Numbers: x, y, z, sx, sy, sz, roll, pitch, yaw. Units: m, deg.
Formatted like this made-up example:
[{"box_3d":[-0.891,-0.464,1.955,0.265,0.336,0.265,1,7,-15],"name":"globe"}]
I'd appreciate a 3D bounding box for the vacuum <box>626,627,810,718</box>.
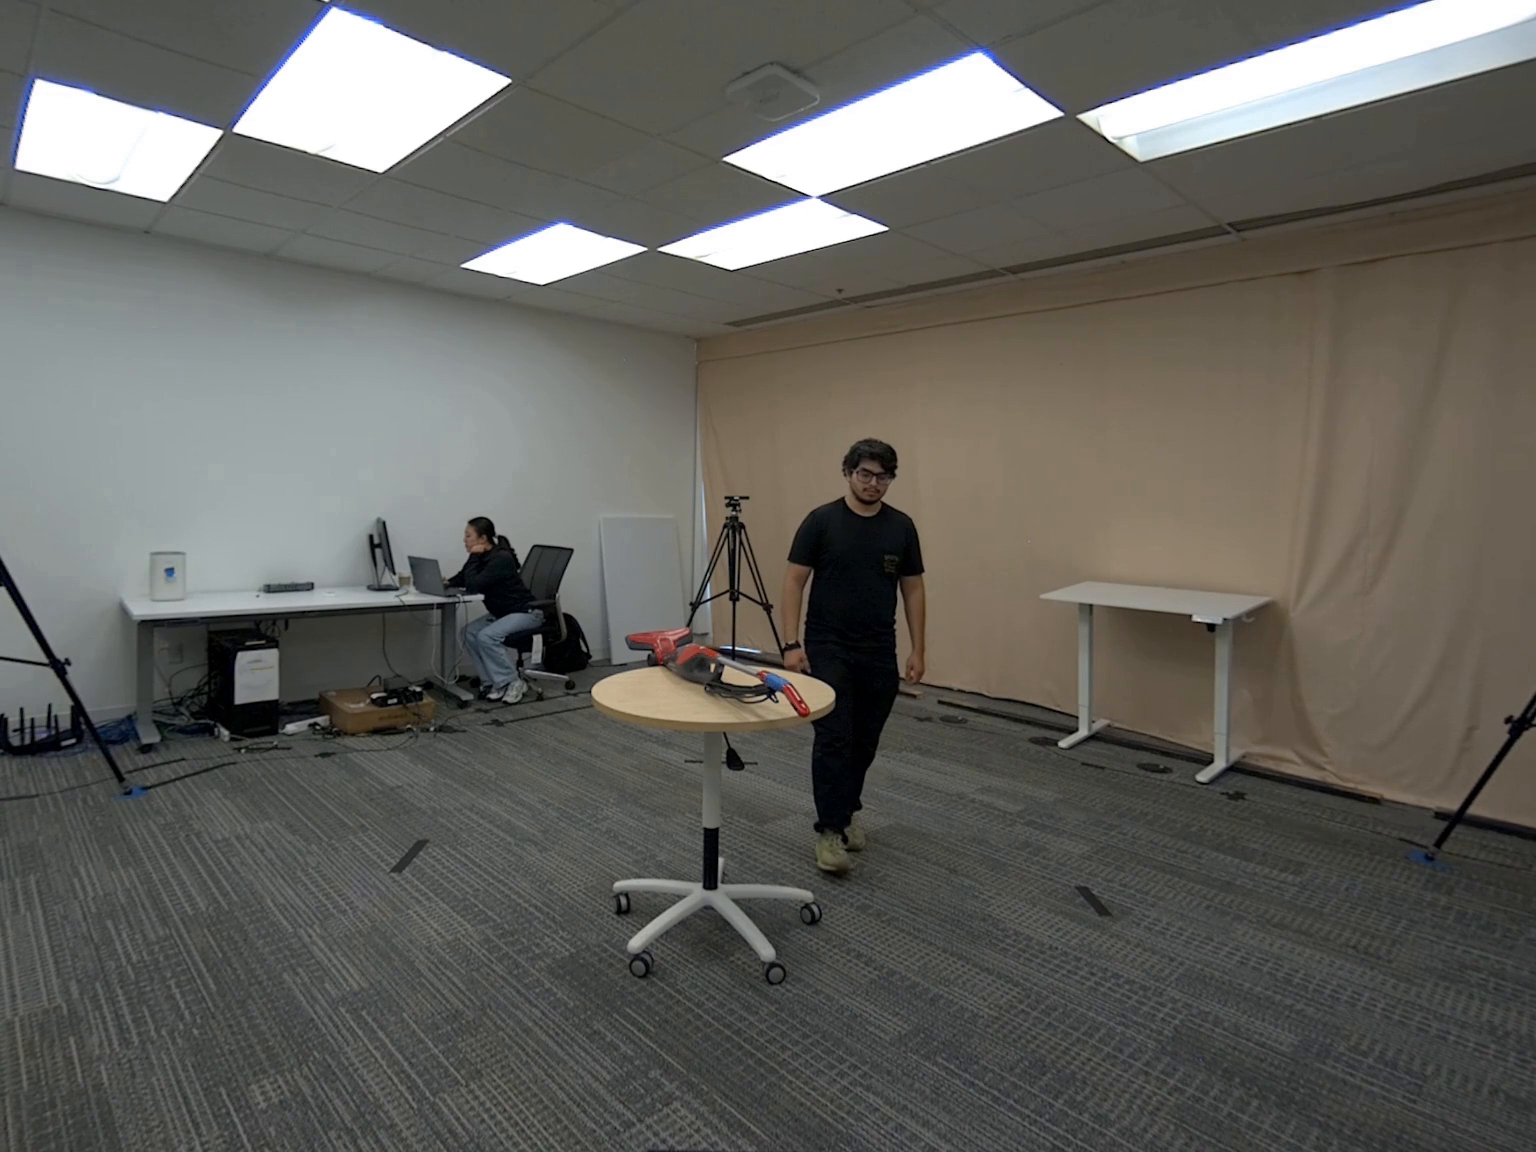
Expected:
[{"box_3d":[-0.151,0.319,2.580,0.248,0.143,1.071,-5,7,-26],"name":"vacuum"}]
